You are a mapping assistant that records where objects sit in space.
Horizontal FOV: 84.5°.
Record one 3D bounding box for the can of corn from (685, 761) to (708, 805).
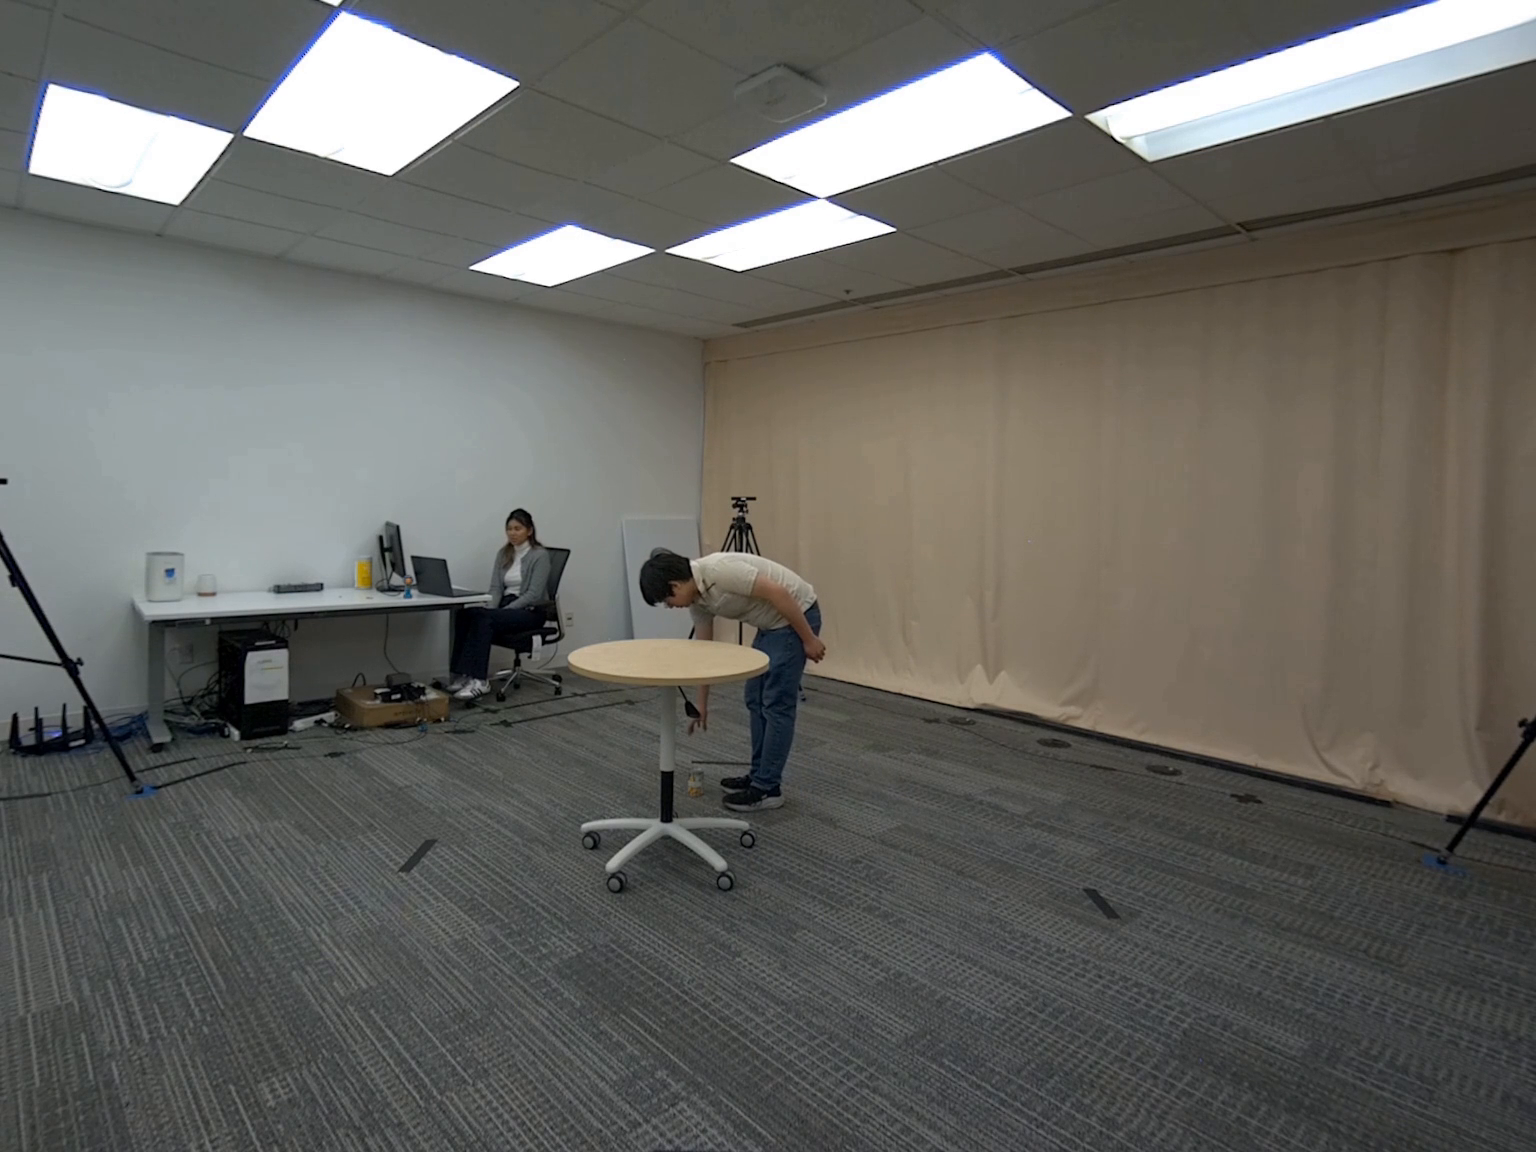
[{"bbox_3d":[-0.345,0.965,3.966,0.074,0.111,0.074,2,2,-1],"label":"can of corn"}]
